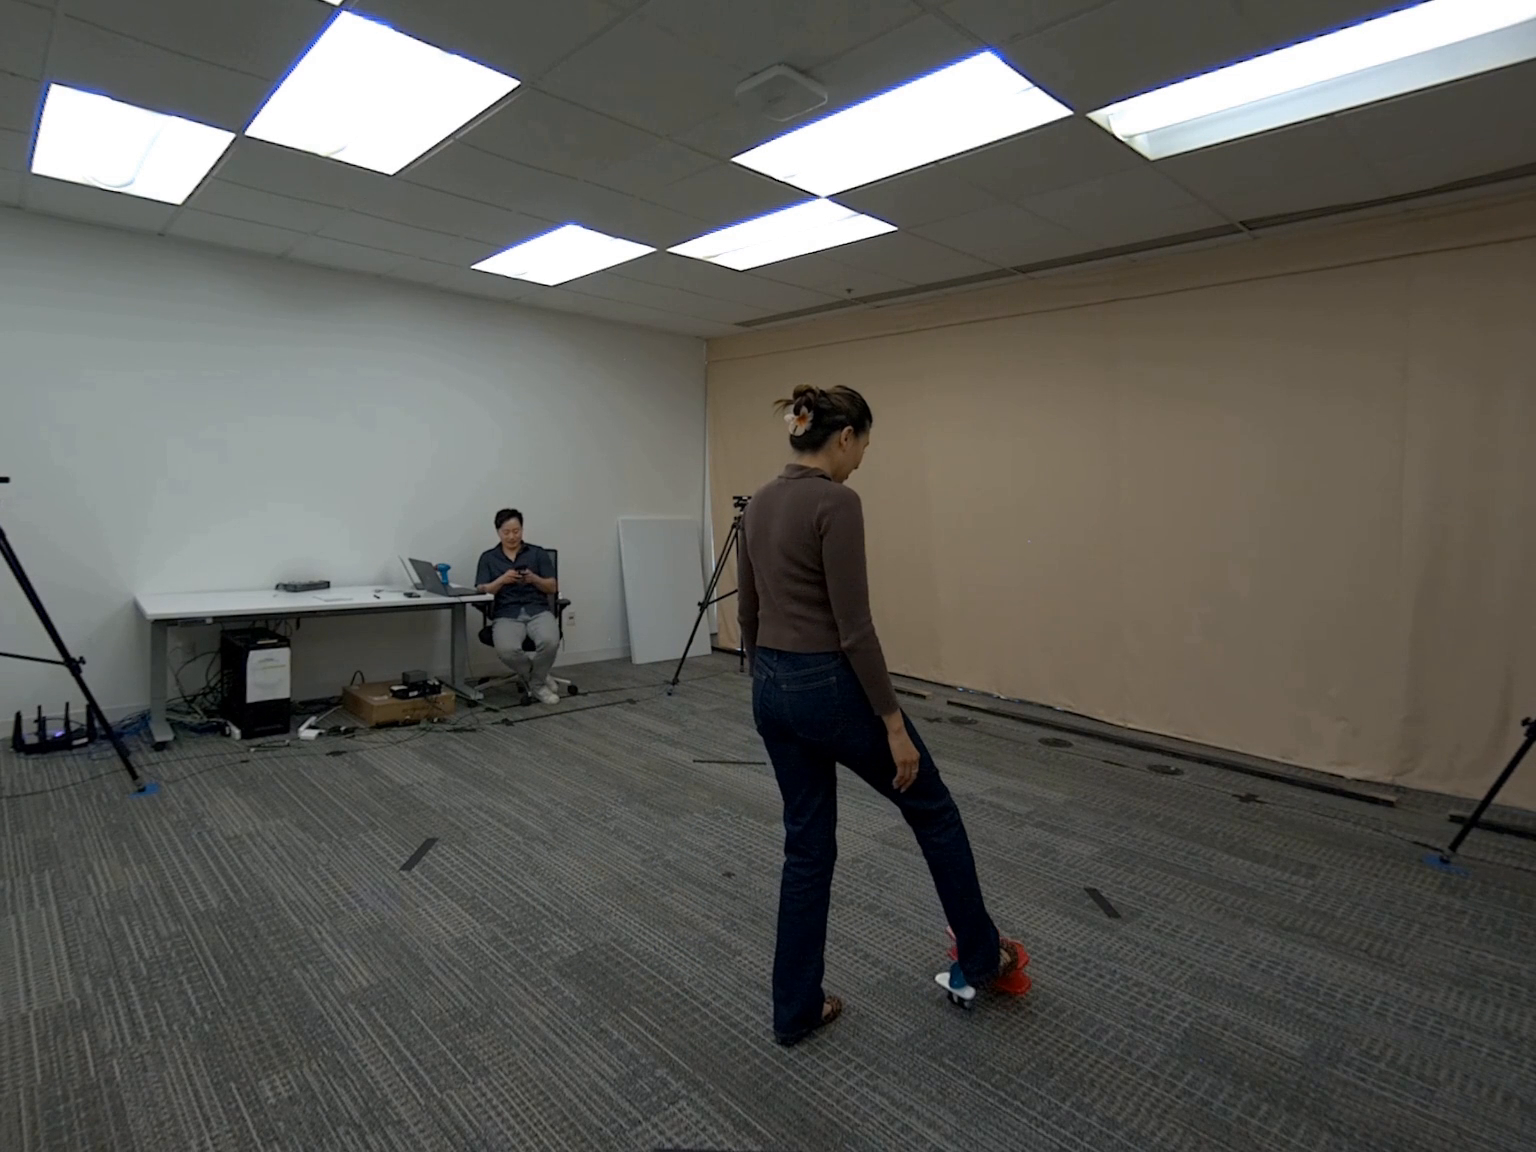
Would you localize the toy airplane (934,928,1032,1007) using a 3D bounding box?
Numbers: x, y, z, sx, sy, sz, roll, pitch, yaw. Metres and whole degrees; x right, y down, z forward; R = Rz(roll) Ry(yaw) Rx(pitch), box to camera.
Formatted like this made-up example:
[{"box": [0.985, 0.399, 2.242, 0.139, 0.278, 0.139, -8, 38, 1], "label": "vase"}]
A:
[{"box": [0.611, 1.116, 2.376, 0.256, 0.156, 0.255, 4, 5, 23], "label": "toy airplane"}]
